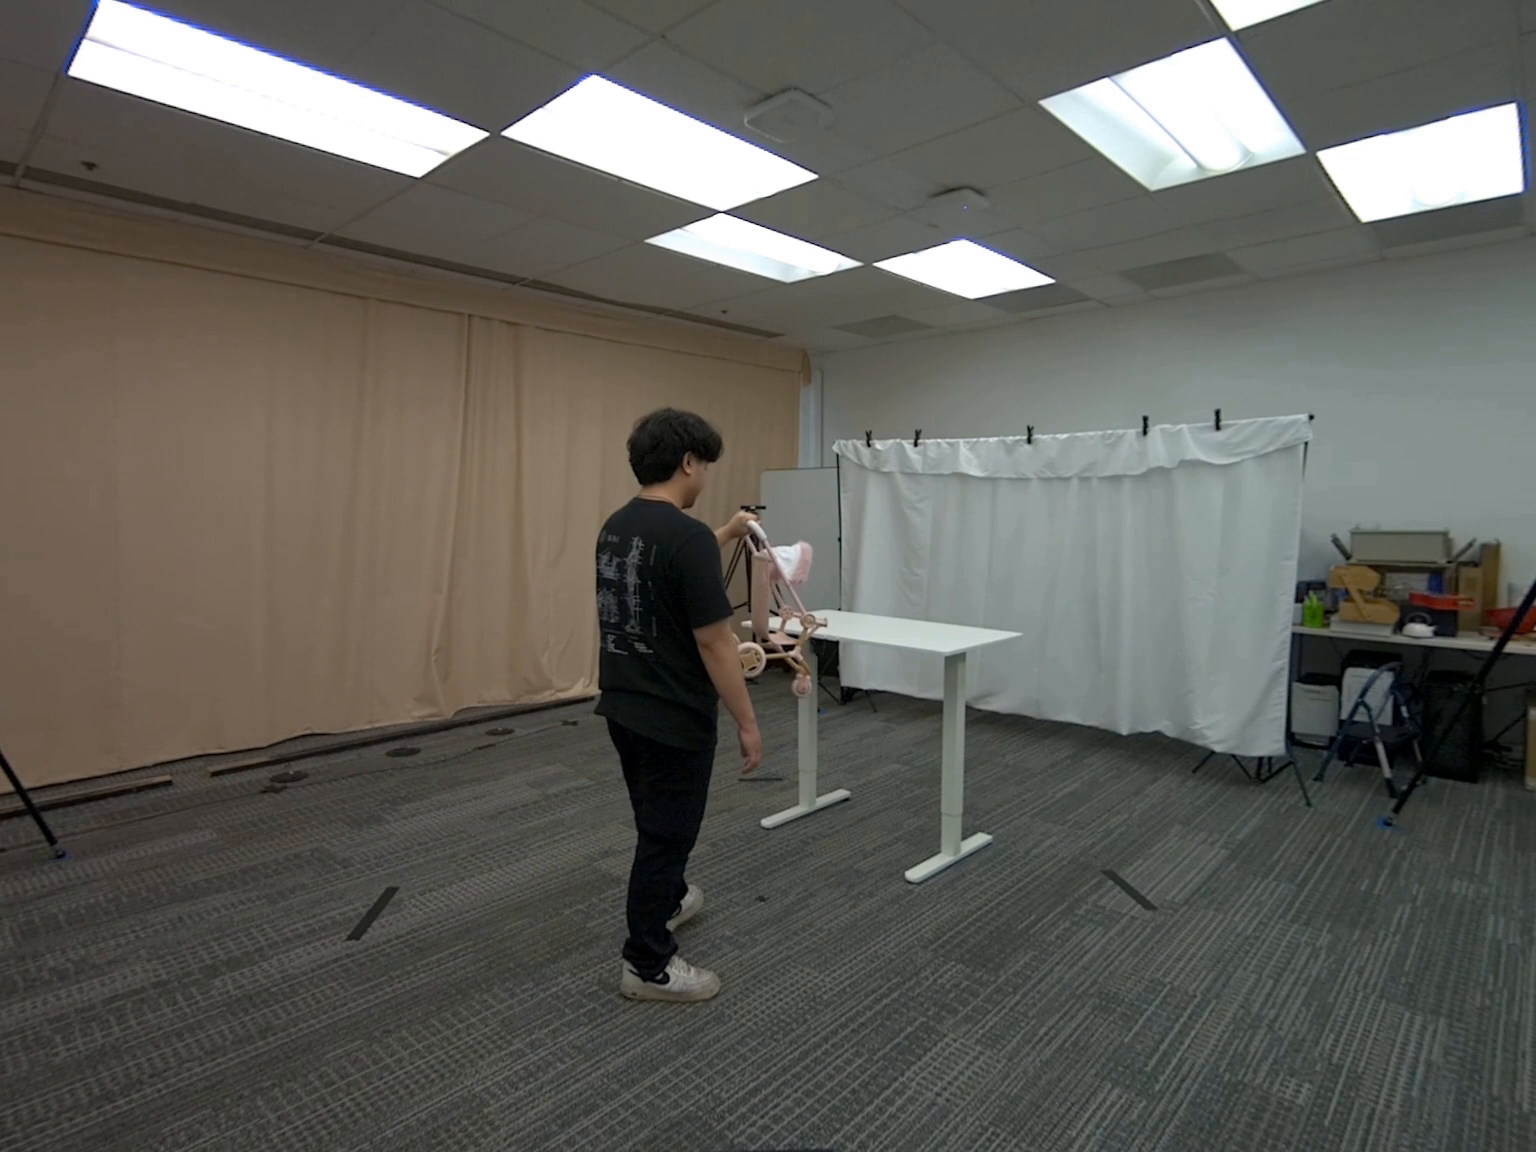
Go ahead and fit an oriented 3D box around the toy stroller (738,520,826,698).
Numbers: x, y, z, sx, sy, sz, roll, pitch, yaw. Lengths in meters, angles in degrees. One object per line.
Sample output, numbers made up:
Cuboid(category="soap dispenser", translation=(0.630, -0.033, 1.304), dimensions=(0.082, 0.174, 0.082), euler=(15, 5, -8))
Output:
Cuboid(category="toy stroller", translation=(0.041, 0.116, 2.732), dimensions=(0.336, 0.535, 0.285), euler=(11, -1, -13))
